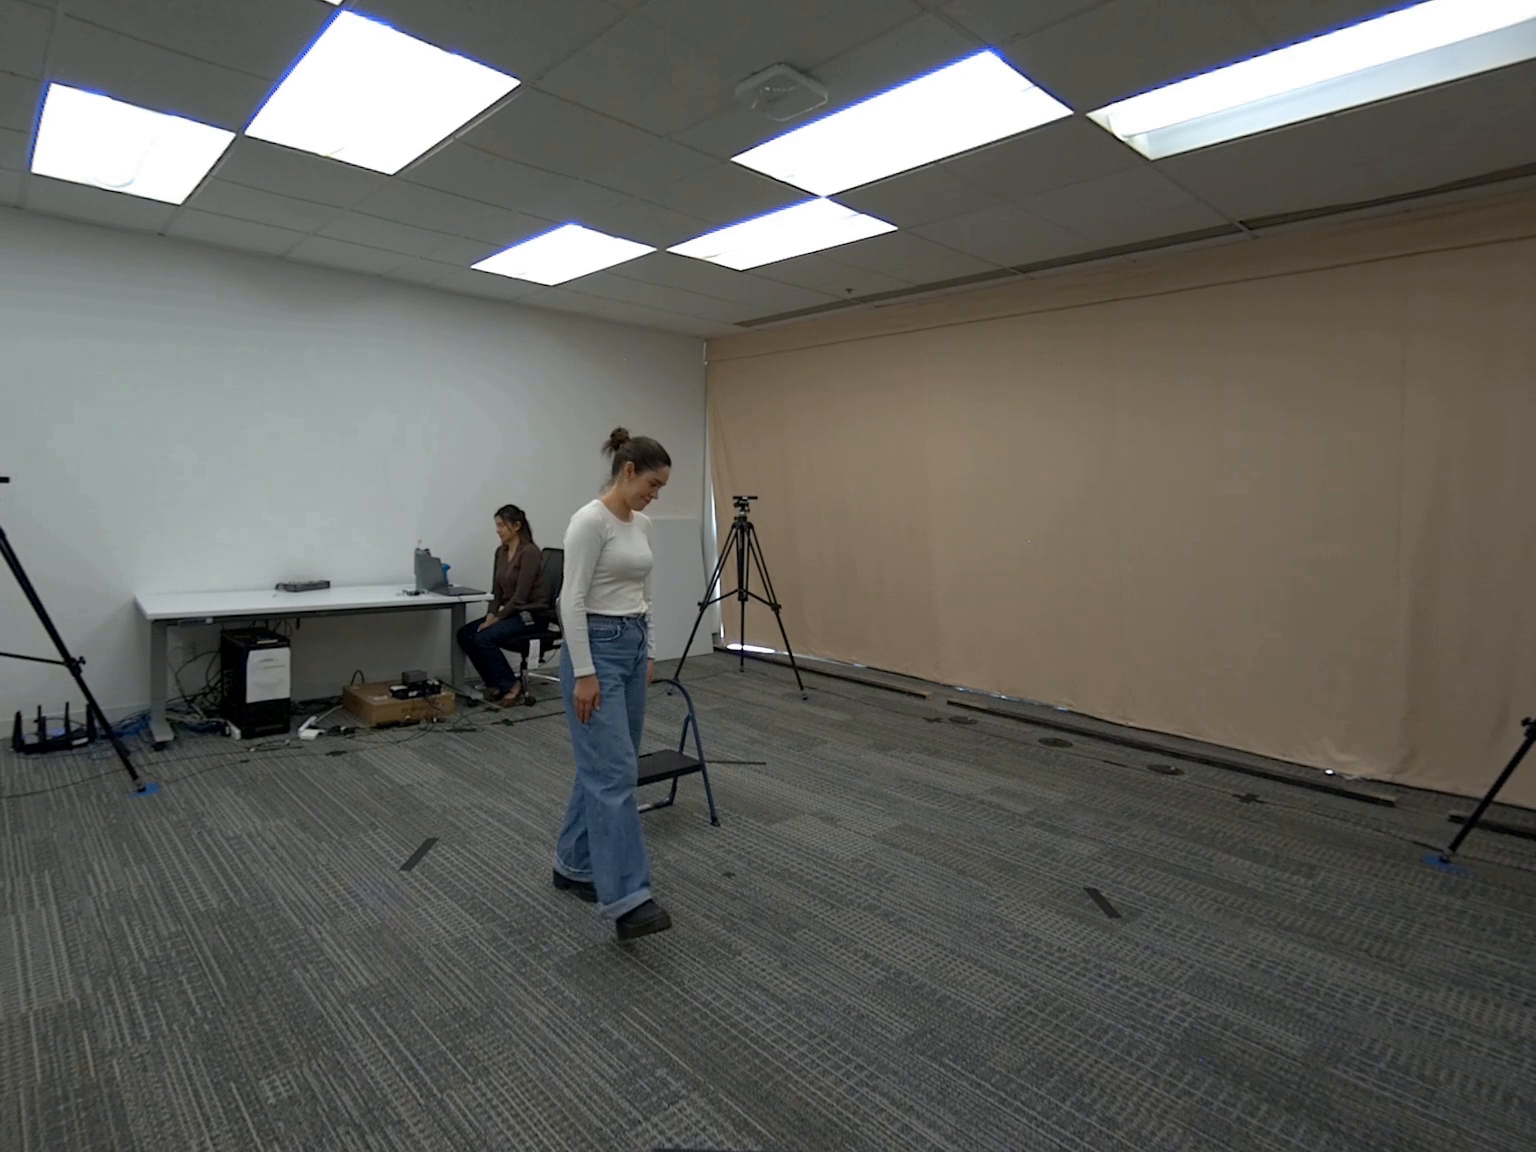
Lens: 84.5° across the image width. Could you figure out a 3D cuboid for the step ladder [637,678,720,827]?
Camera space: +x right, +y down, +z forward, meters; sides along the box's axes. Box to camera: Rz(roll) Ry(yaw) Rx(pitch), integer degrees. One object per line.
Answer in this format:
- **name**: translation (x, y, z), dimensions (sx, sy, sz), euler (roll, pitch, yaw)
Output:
- **step ladder**: translation (-0.468, 0.754, 3.551), dimensions (0.421, 0.605, 0.358), euler (-2, 4, -44)
